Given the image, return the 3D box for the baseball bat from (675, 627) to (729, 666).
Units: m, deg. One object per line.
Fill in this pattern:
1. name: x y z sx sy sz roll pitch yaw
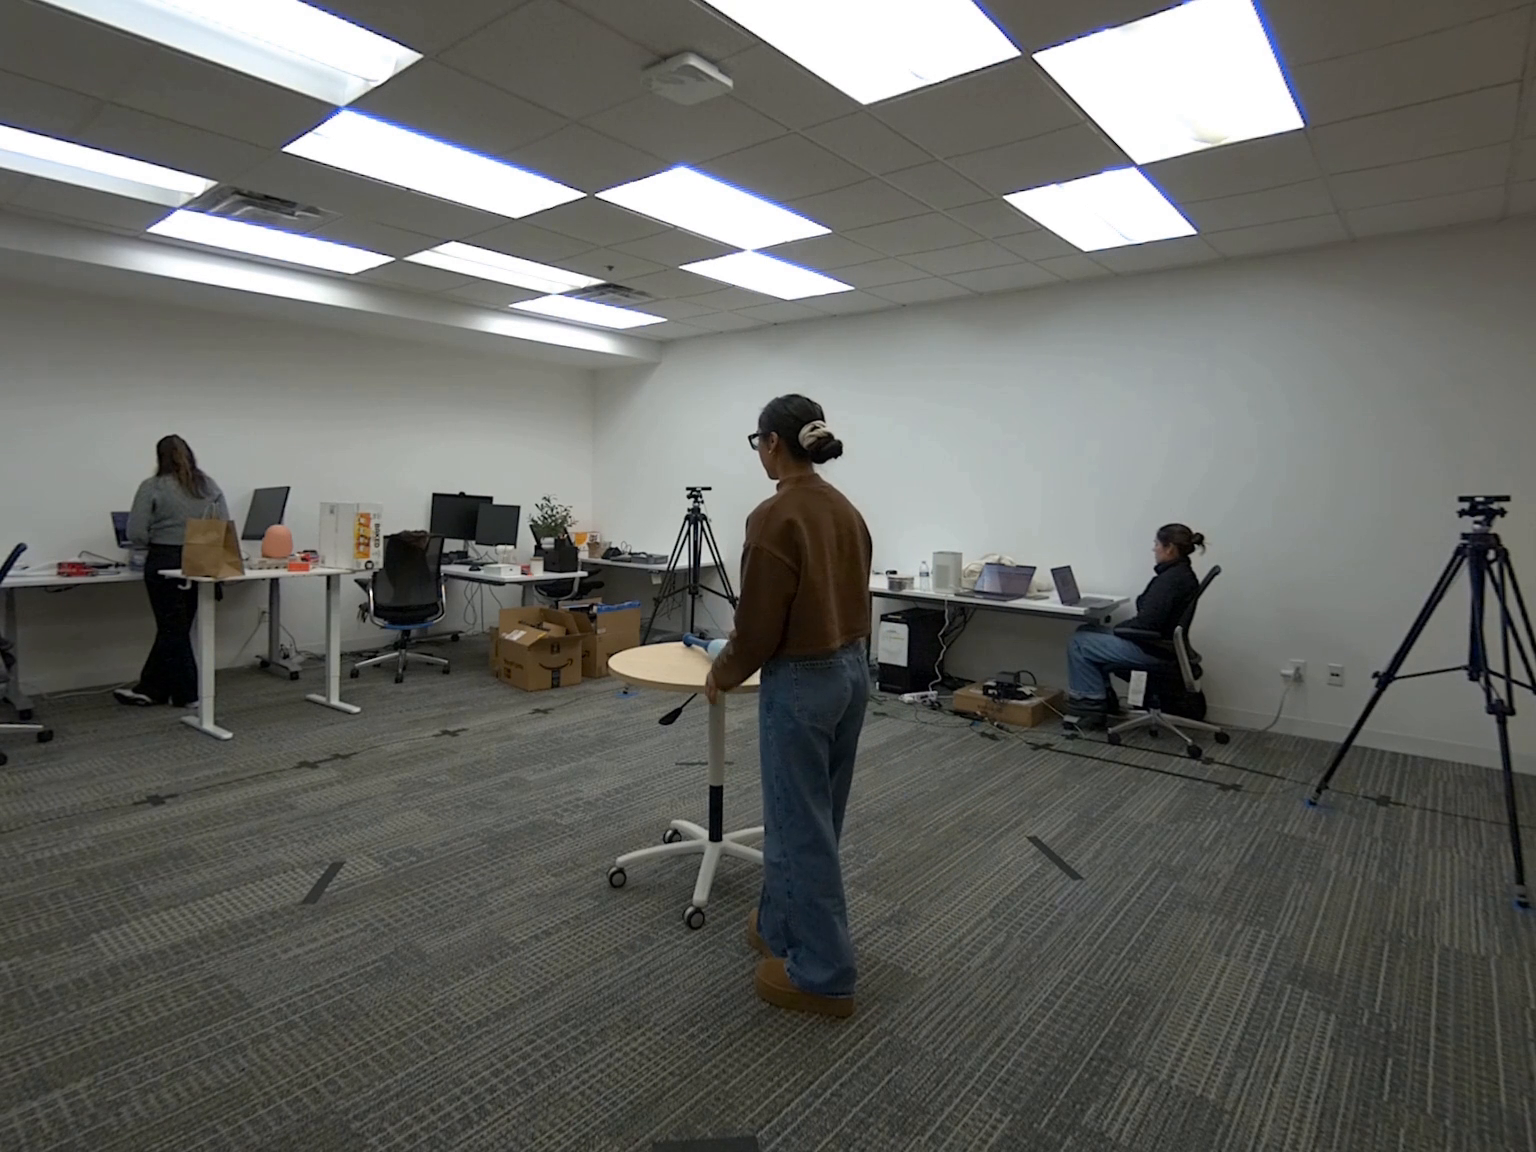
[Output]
1. baseball bat: -0.201 0.258 3.005 0.087 0.089 0.556 -1 3 -25
